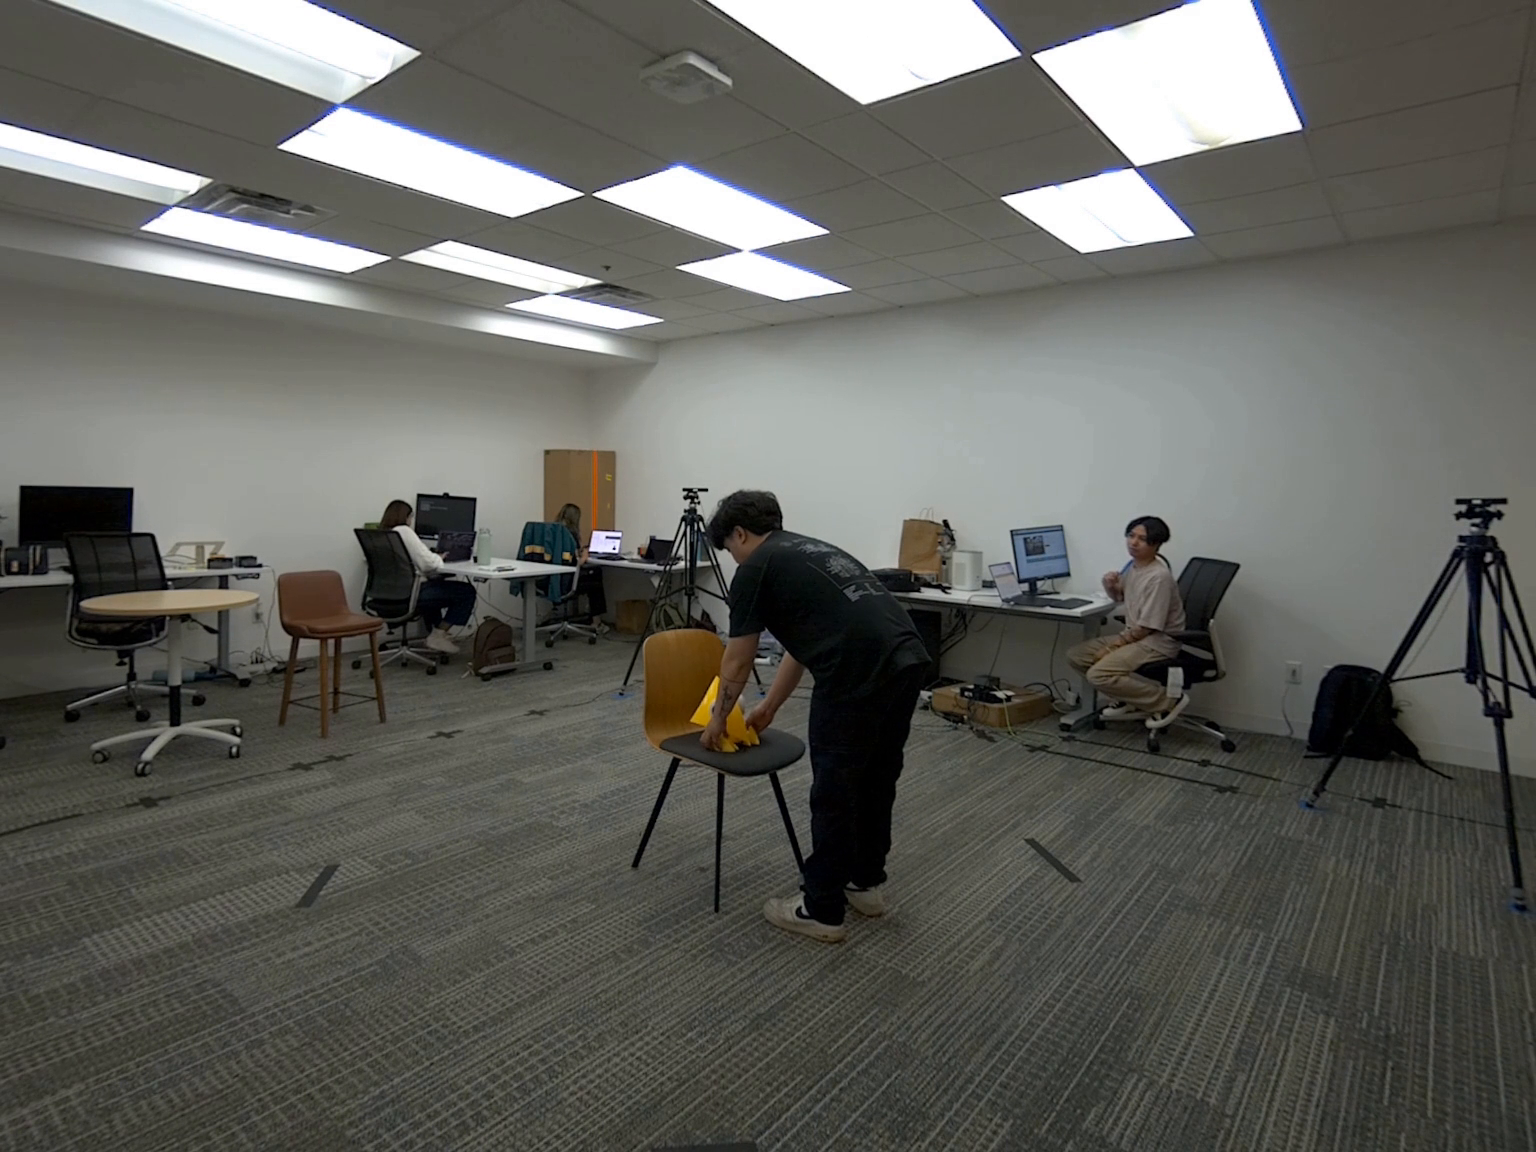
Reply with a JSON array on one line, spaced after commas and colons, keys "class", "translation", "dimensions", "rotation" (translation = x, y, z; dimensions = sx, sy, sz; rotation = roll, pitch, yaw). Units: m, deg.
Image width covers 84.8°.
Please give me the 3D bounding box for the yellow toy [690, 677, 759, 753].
[{"class": "yellow toy", "translation": [-0.150, 0.483, 3.056], "dimensions": [0.199, 0.230, 0.198], "rotation": [3, 4, 43]}]
